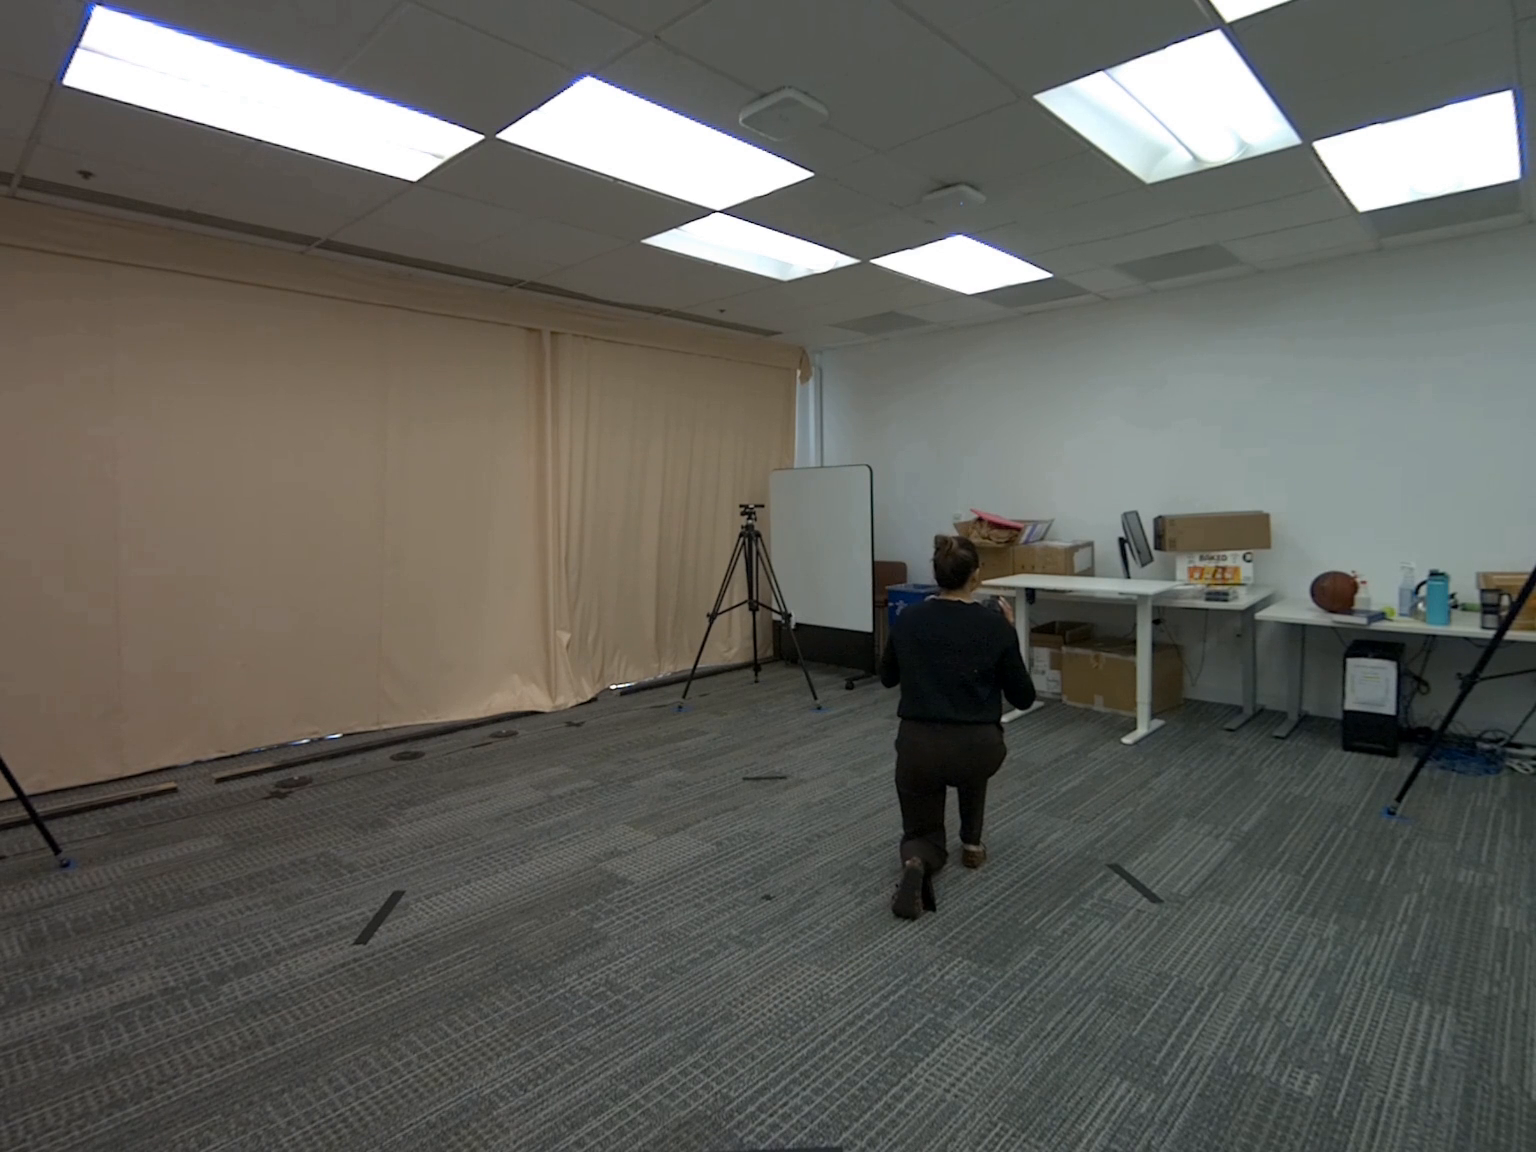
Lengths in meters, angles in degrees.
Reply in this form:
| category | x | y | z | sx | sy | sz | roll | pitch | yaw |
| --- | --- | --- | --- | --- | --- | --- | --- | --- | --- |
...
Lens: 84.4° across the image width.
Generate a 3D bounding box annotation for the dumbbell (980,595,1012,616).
| category | x | y | z | sx | sy | sz | roll | pitch | yaw |
| --- | --- | --- | --- | --- | --- | --- | --- | --- | --- |
| dumbbell | 0.794 | 0.152 | 3.266 | 0.300 | 0.106 | 0.123 | -2 | 35 | 21 |
